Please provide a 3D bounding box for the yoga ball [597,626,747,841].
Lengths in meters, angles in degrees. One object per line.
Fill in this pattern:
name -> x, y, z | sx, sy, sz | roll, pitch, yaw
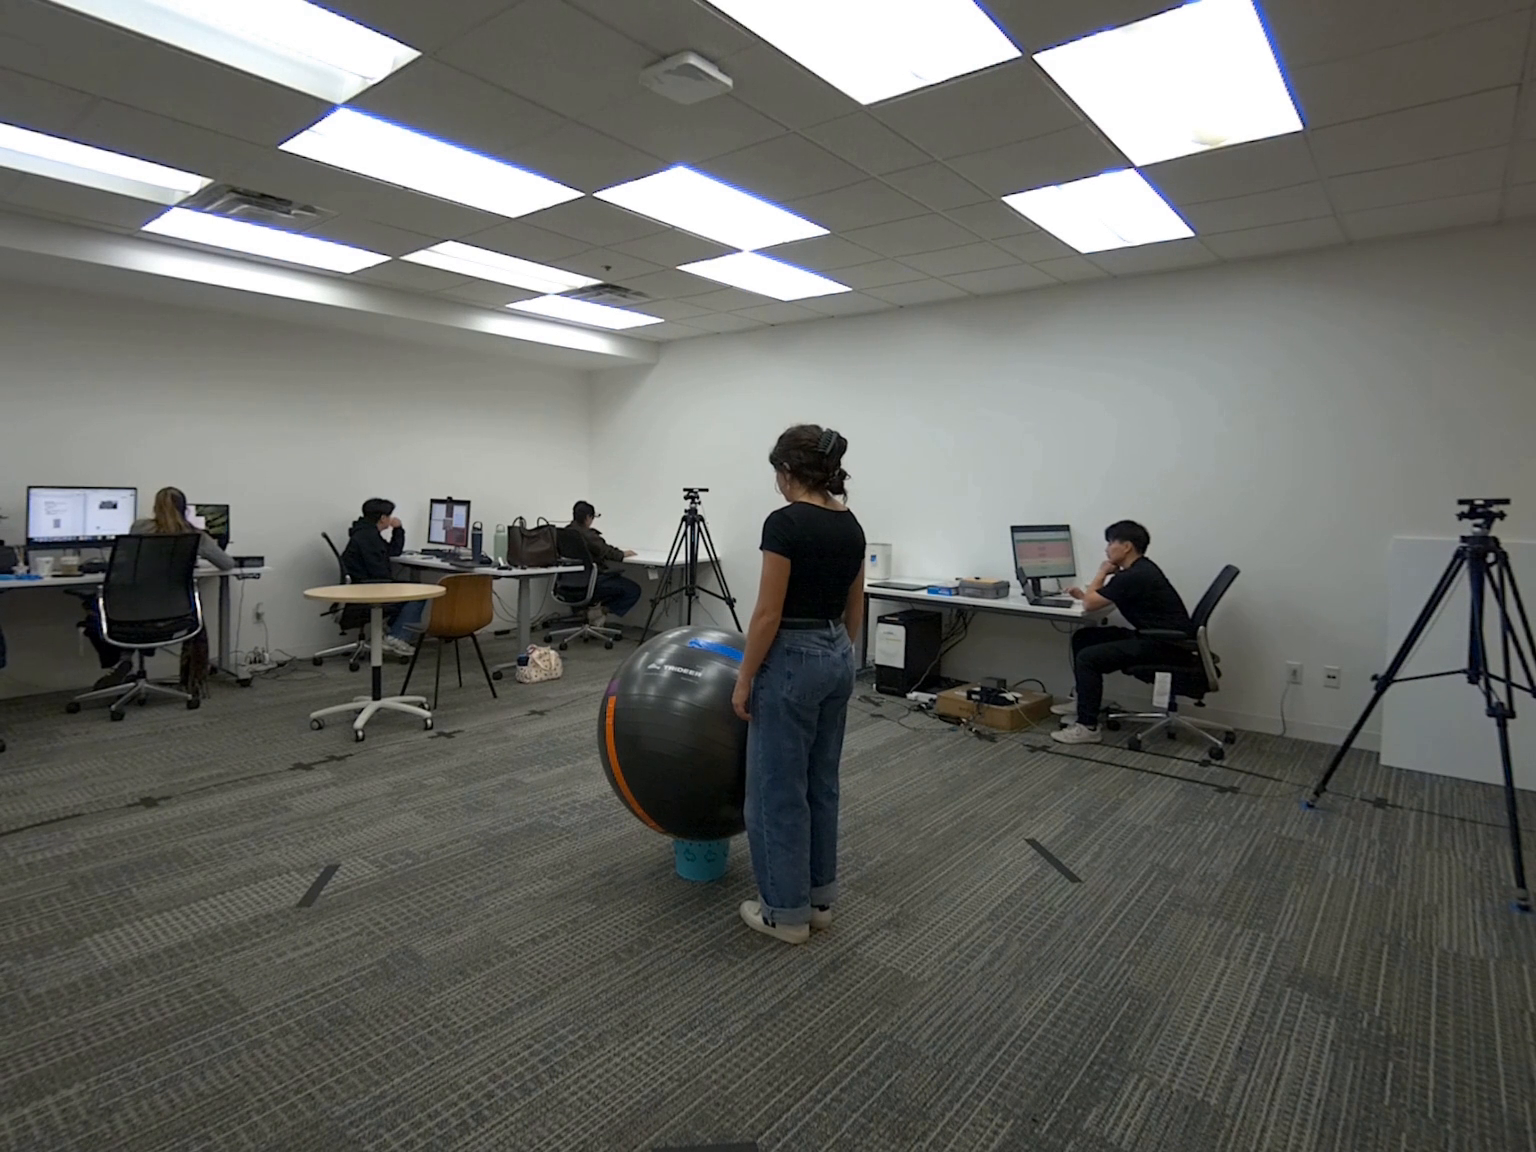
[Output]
yoga ball -> -0.249, 0.559, 3.088 | 0.757, 0.756, 0.762 | 1, 4, -2
